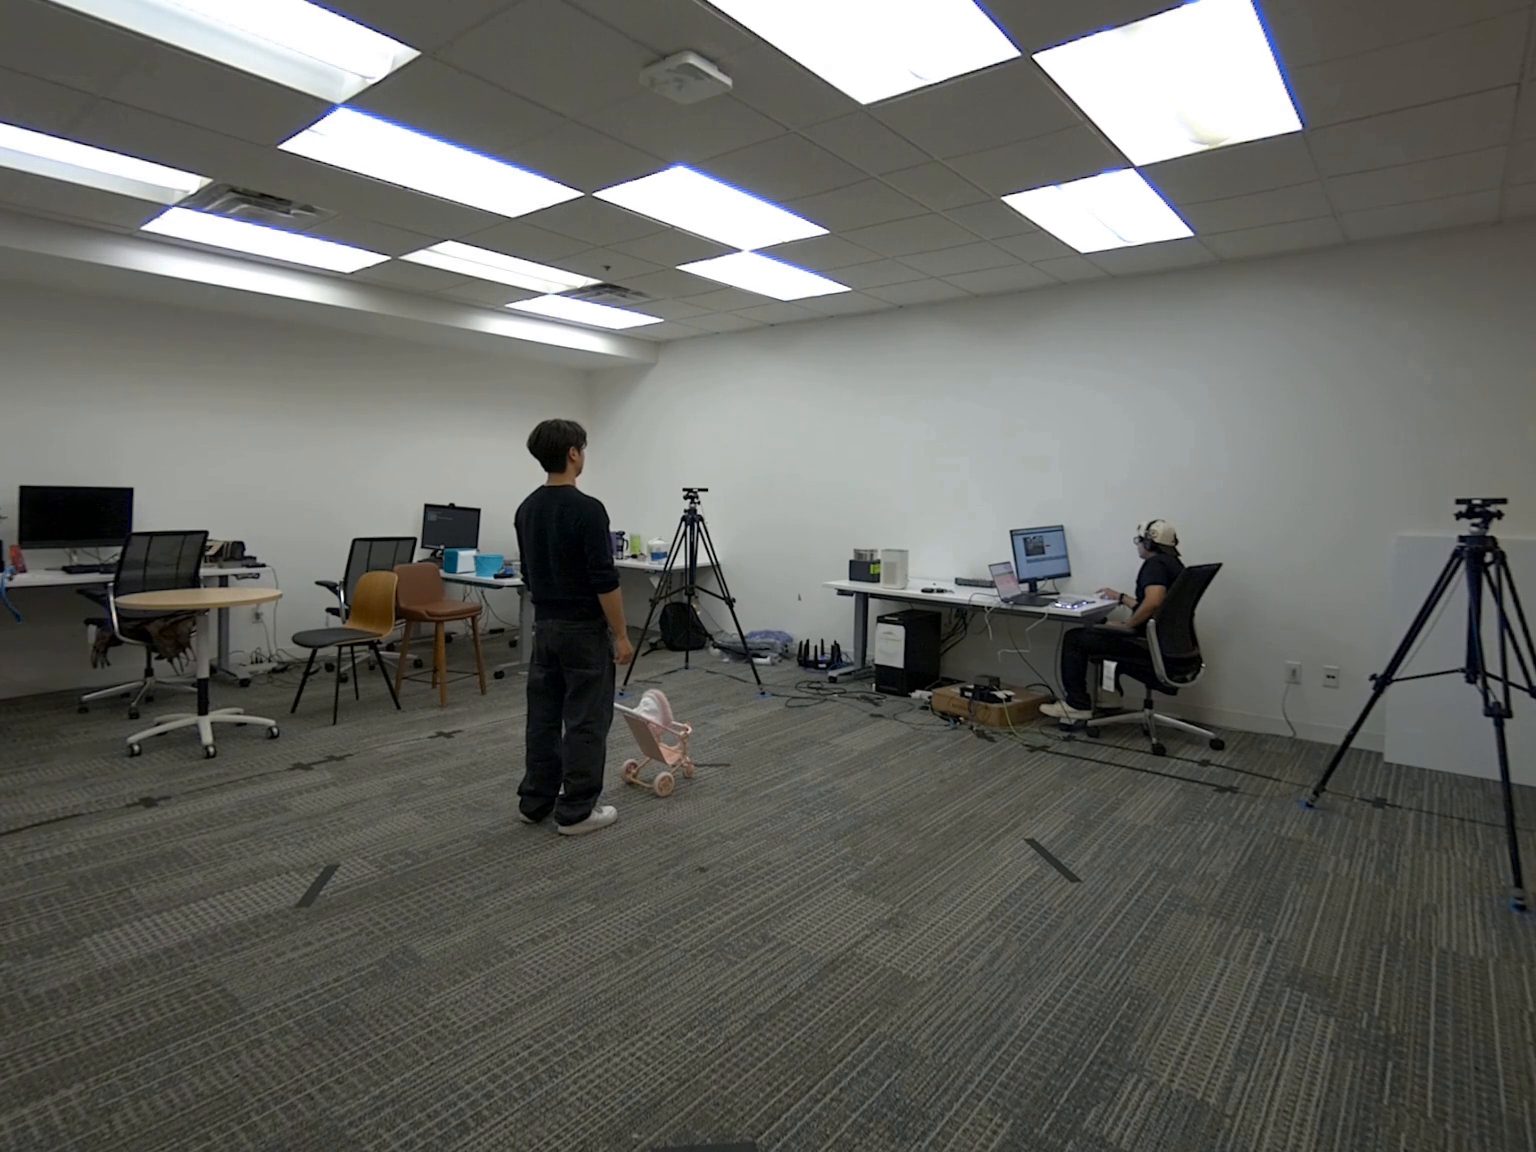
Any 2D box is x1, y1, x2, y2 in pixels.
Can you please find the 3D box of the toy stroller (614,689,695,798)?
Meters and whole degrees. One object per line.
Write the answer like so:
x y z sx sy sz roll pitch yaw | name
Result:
-0.530 0.759 3.965 0.336 0.526 0.291 -24 18 -36 | toy stroller
